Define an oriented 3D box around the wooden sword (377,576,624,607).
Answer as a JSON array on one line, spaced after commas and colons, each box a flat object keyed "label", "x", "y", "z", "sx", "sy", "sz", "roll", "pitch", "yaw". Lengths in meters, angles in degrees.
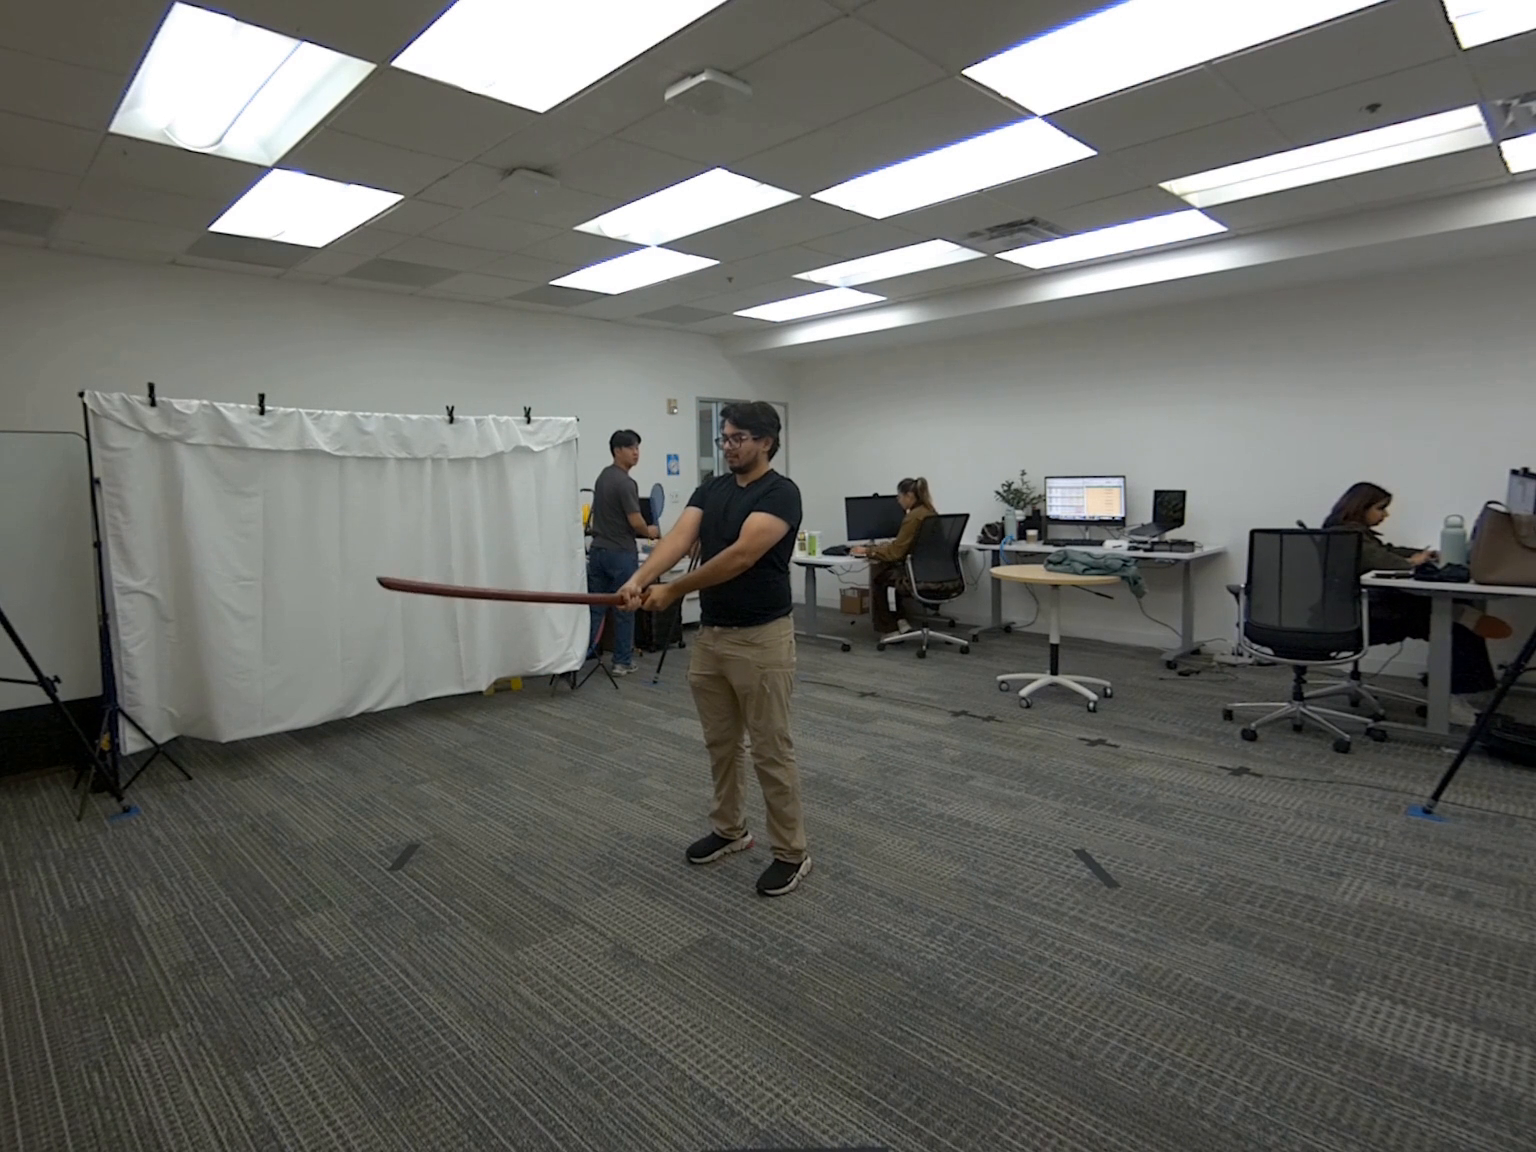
[{"label": "wooden sword", "x": -0.671, "y": 0.062, "z": 2.487, "sx": 0.025, "sy": 0.051, "sz": 0.992, "roll": 17, "pitch": 7, "yaw": 40}]
